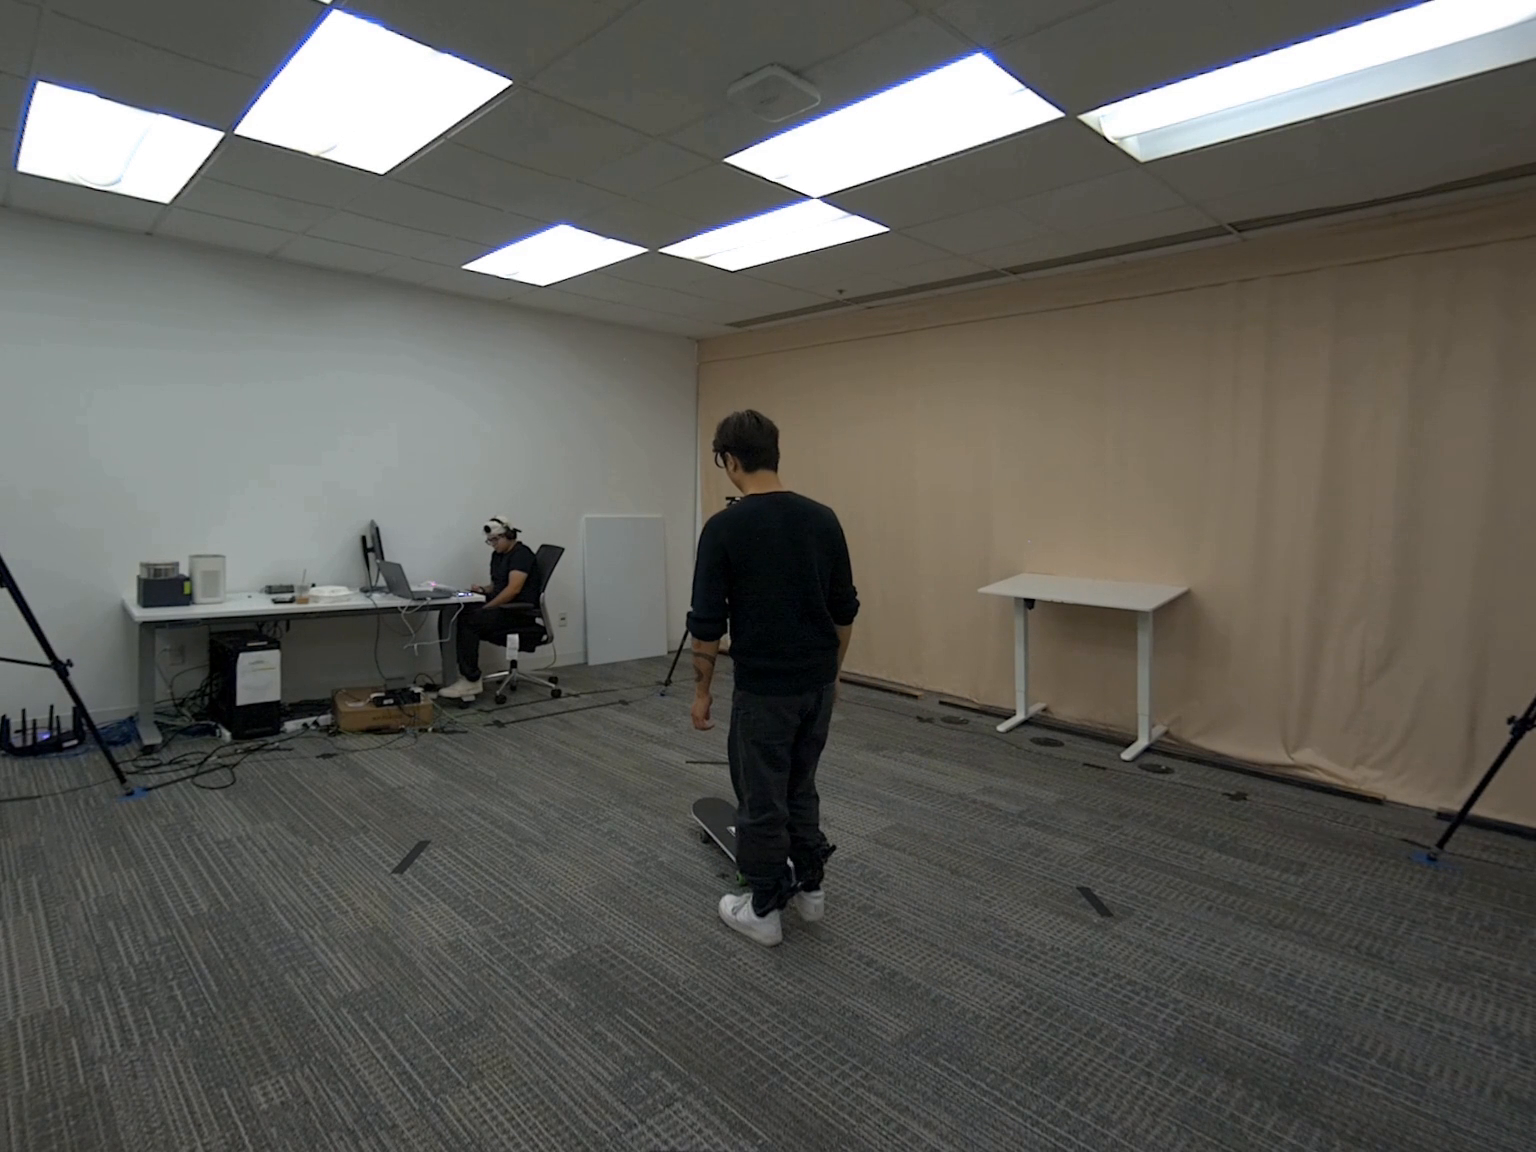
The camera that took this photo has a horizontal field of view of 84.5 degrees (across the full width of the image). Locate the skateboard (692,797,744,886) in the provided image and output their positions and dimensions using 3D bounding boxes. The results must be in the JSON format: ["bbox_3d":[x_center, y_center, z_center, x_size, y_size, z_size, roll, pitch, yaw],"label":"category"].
[{"bbox_3d":[-0.116,1.037,3.251,0.190,0.110,0.800,0,5,-23],"label":"skateboard"}]
